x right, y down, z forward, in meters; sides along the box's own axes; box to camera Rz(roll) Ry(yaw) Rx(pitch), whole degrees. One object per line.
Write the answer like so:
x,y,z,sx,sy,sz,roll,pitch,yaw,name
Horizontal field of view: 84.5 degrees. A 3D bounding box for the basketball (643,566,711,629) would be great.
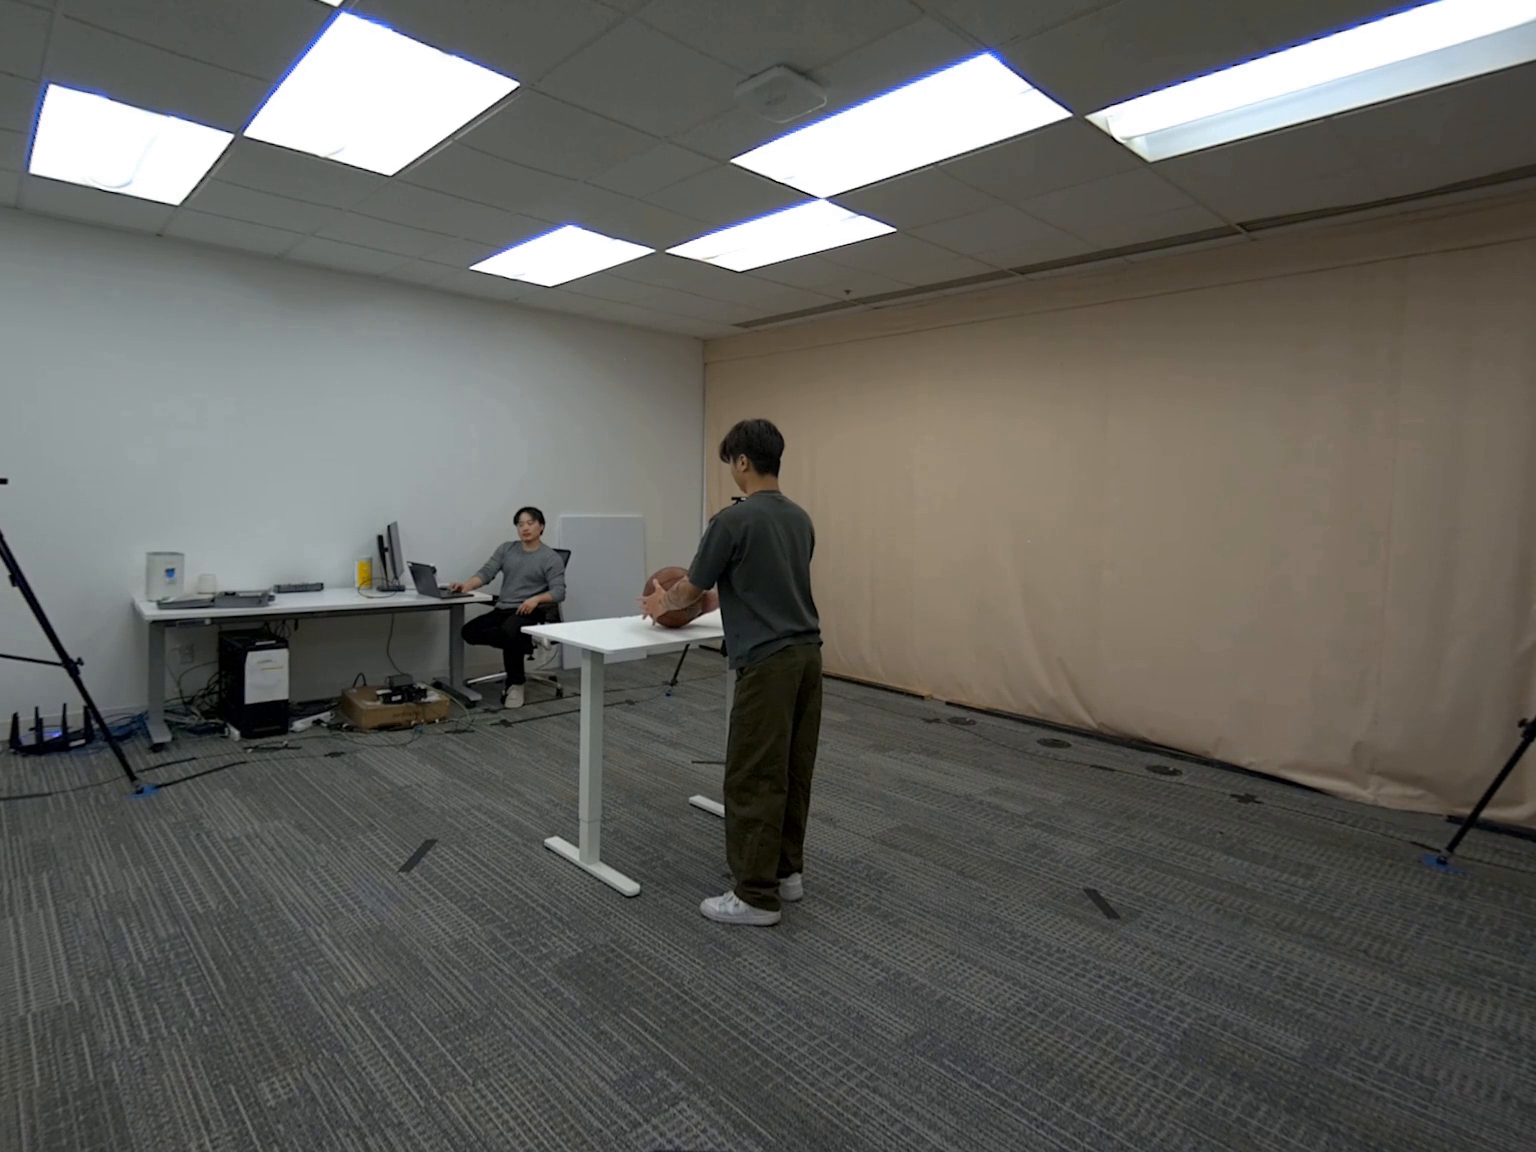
-0.375,0.084,3.305,0.236,0.235,0.237,1,4,-1,basketball
